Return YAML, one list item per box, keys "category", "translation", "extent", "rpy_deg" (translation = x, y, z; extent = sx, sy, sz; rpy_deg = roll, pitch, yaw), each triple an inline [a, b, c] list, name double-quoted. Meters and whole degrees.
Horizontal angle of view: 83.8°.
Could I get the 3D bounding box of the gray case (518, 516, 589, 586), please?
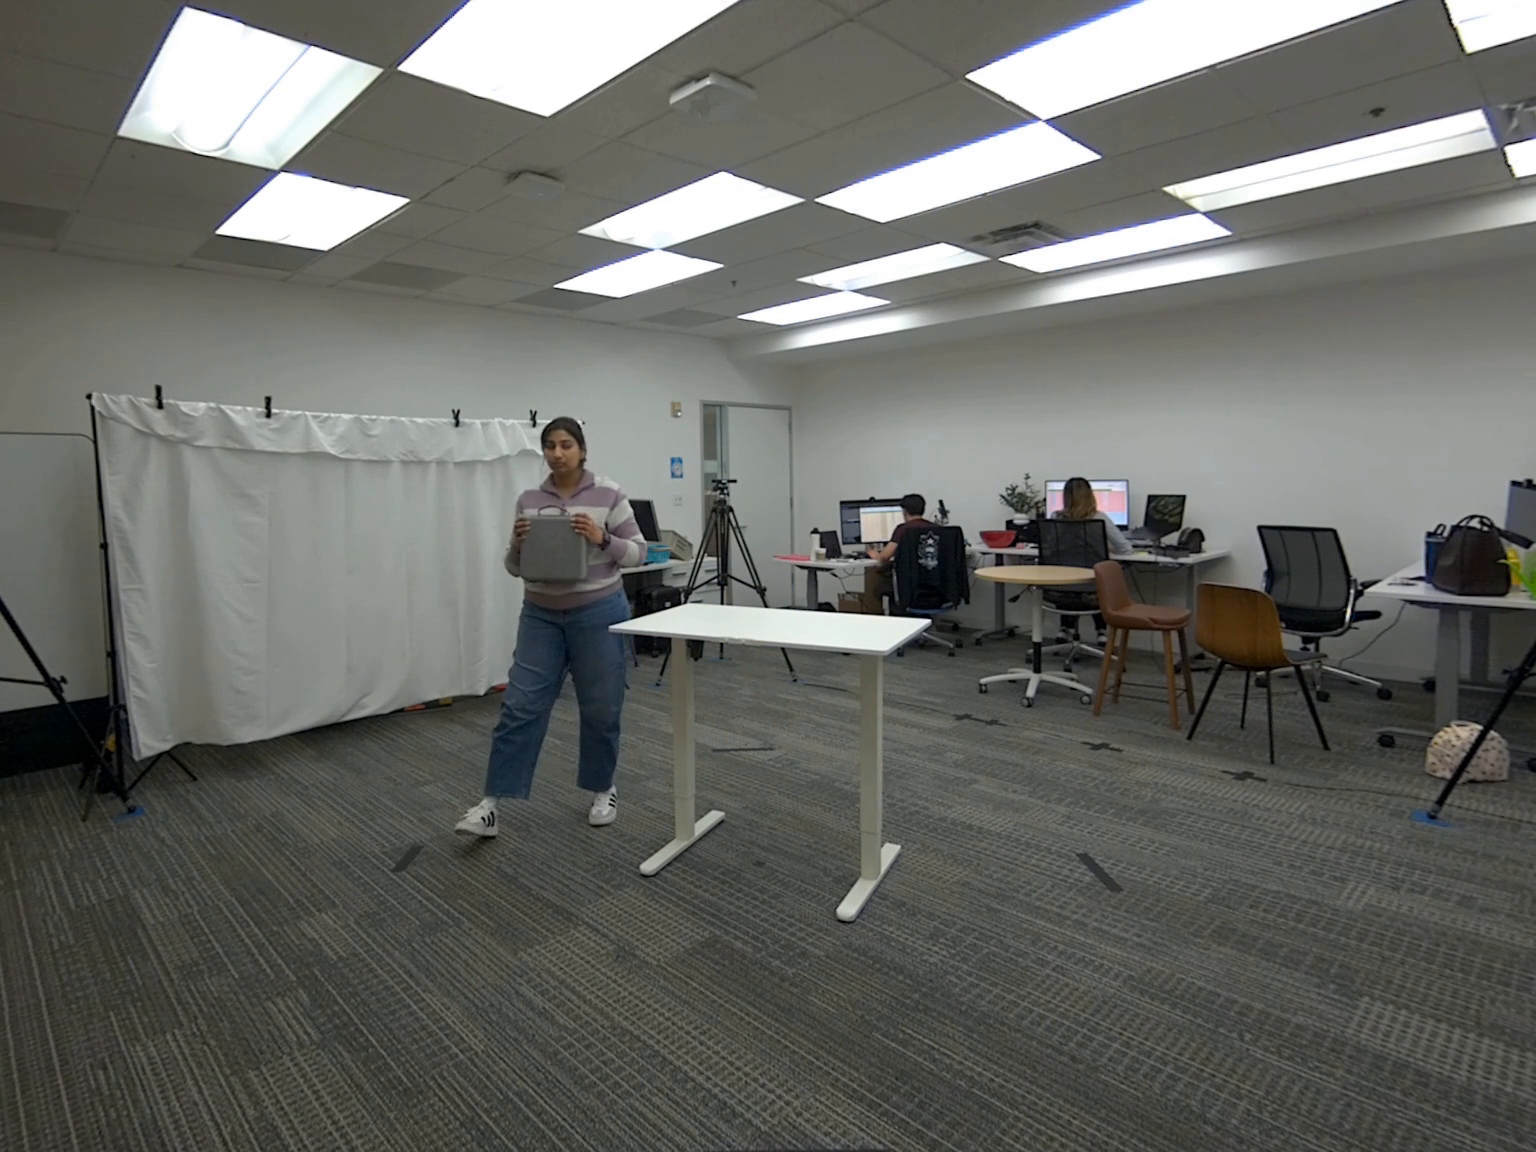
- category: "gray case"
  translation: [-0.840, -0.107, 3.298]
  extent: [0.257, 0.259, 0.104]
  rpy_deg: [4, 5, 2]
